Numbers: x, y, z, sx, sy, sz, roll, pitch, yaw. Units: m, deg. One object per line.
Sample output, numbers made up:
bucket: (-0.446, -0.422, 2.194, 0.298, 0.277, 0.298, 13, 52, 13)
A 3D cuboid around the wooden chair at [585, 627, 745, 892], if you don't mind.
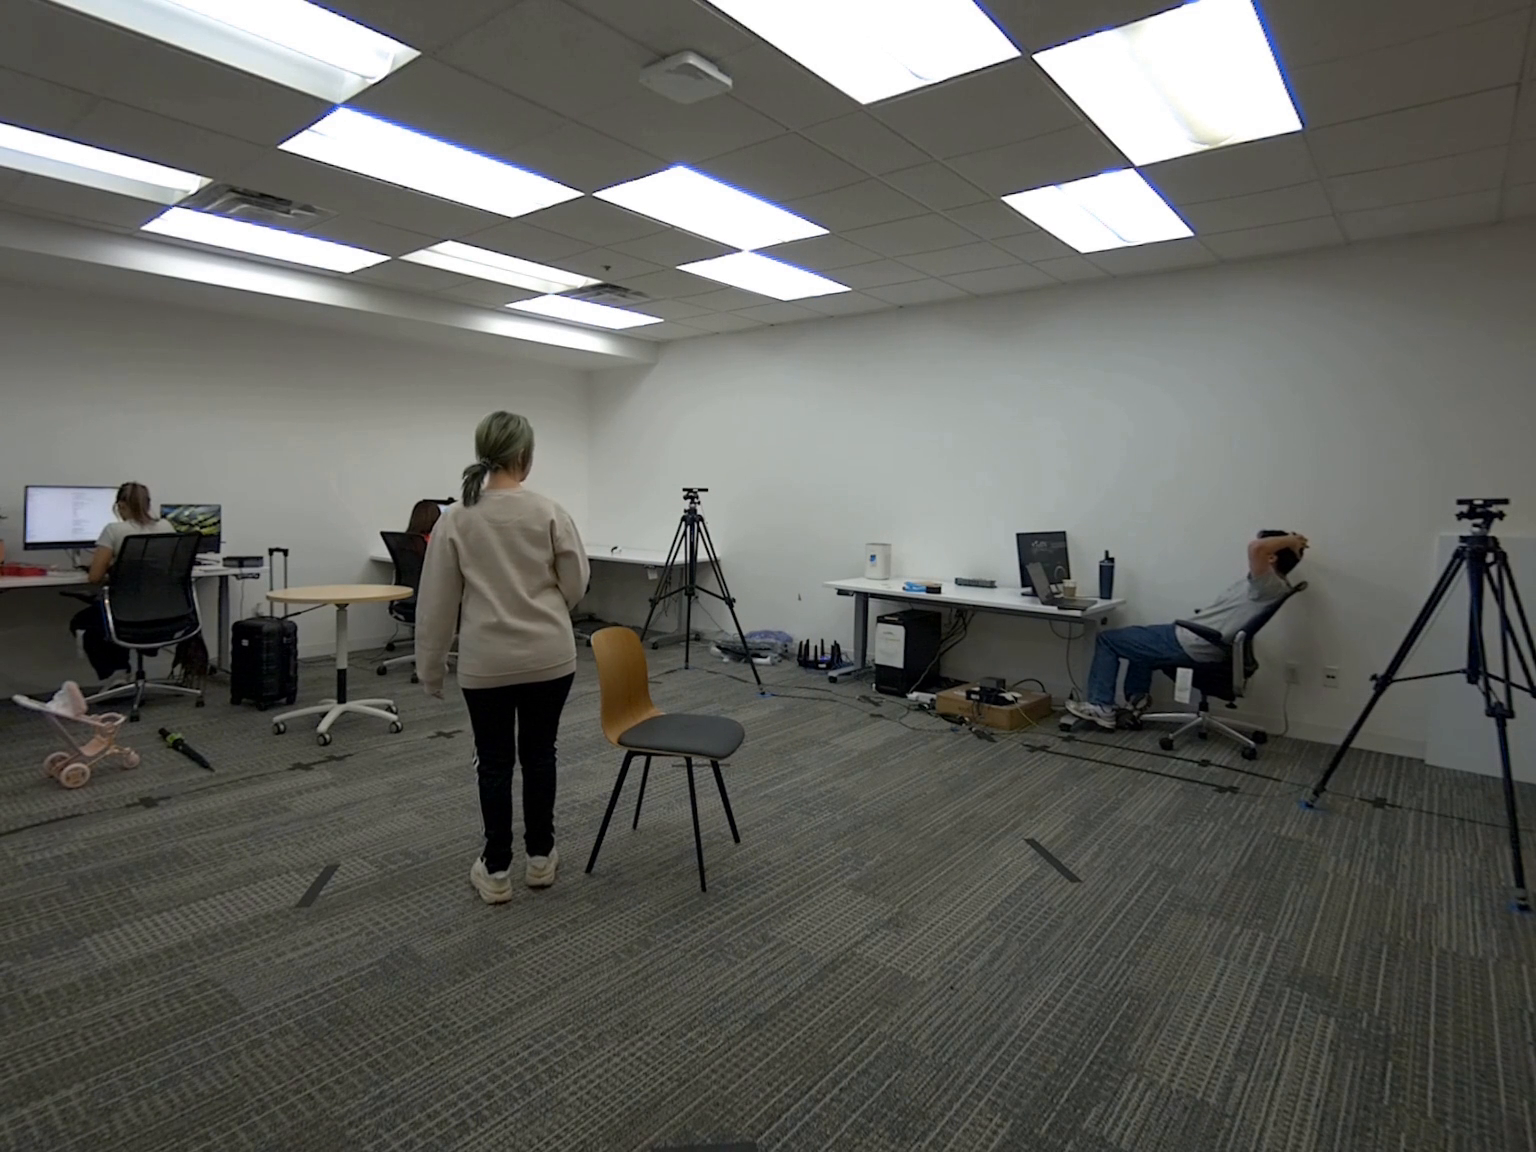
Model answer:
wooden chair: (-0.373, 0.633, 3.178, 0.532, 0.876, 0.471, -2, 2, 16)
